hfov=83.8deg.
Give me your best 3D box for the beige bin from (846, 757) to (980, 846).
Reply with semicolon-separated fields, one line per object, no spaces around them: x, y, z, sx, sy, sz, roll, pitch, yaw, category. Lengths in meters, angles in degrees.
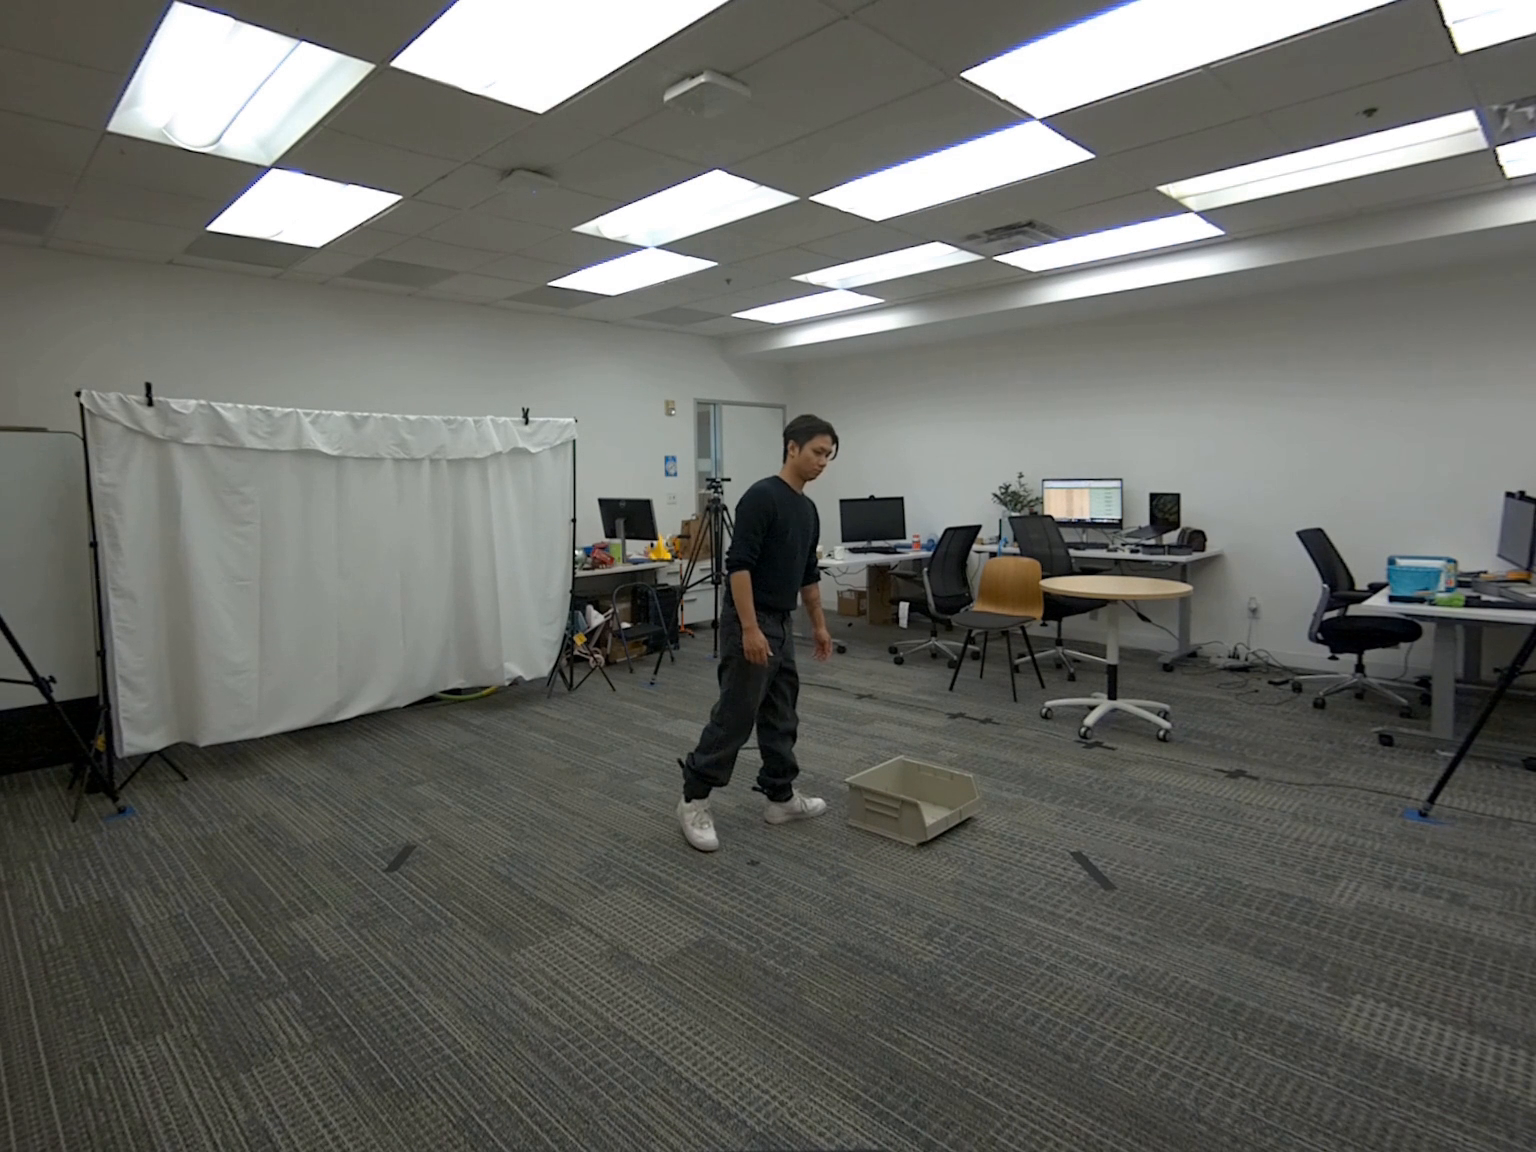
0.583;0.899;3.447;0.389;0.188;0.411;4;8;43;beige bin
